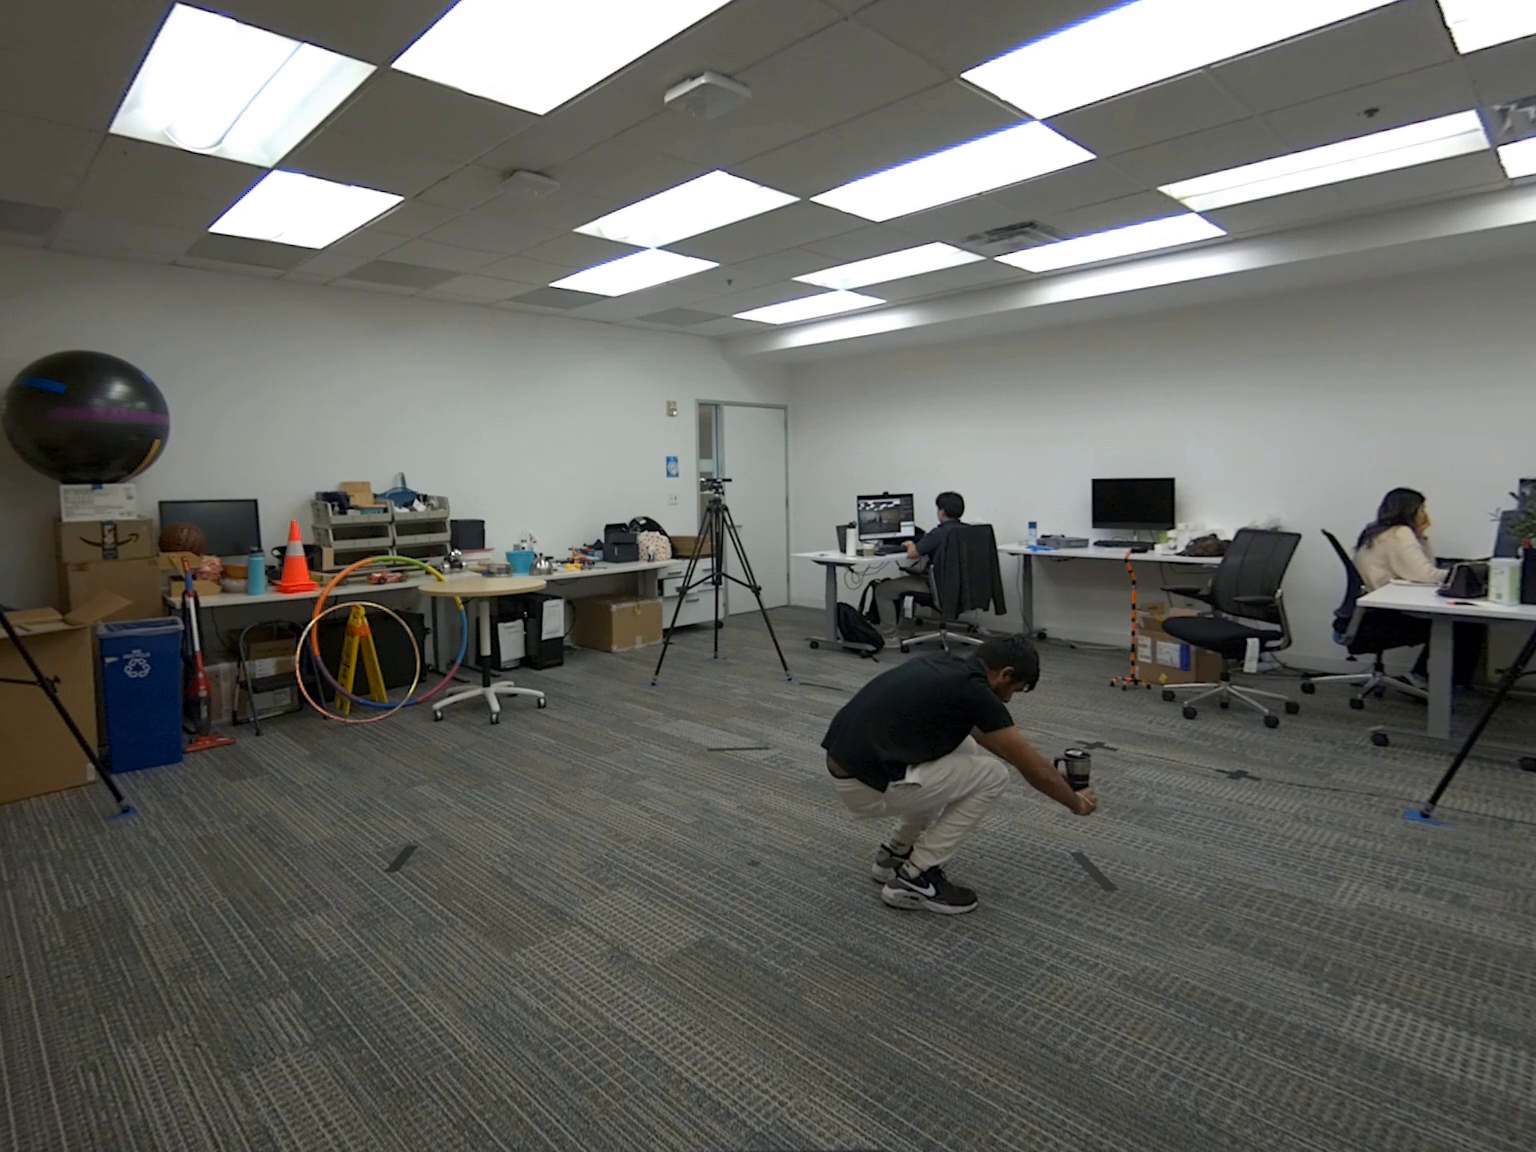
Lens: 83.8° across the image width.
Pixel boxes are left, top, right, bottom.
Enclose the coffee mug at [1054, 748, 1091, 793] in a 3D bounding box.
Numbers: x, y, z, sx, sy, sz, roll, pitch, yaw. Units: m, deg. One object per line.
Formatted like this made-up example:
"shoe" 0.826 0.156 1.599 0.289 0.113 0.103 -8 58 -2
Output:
"coffee mug" 1.068 0.720 3.015 0.126 0.202 0.085 9 9 42
